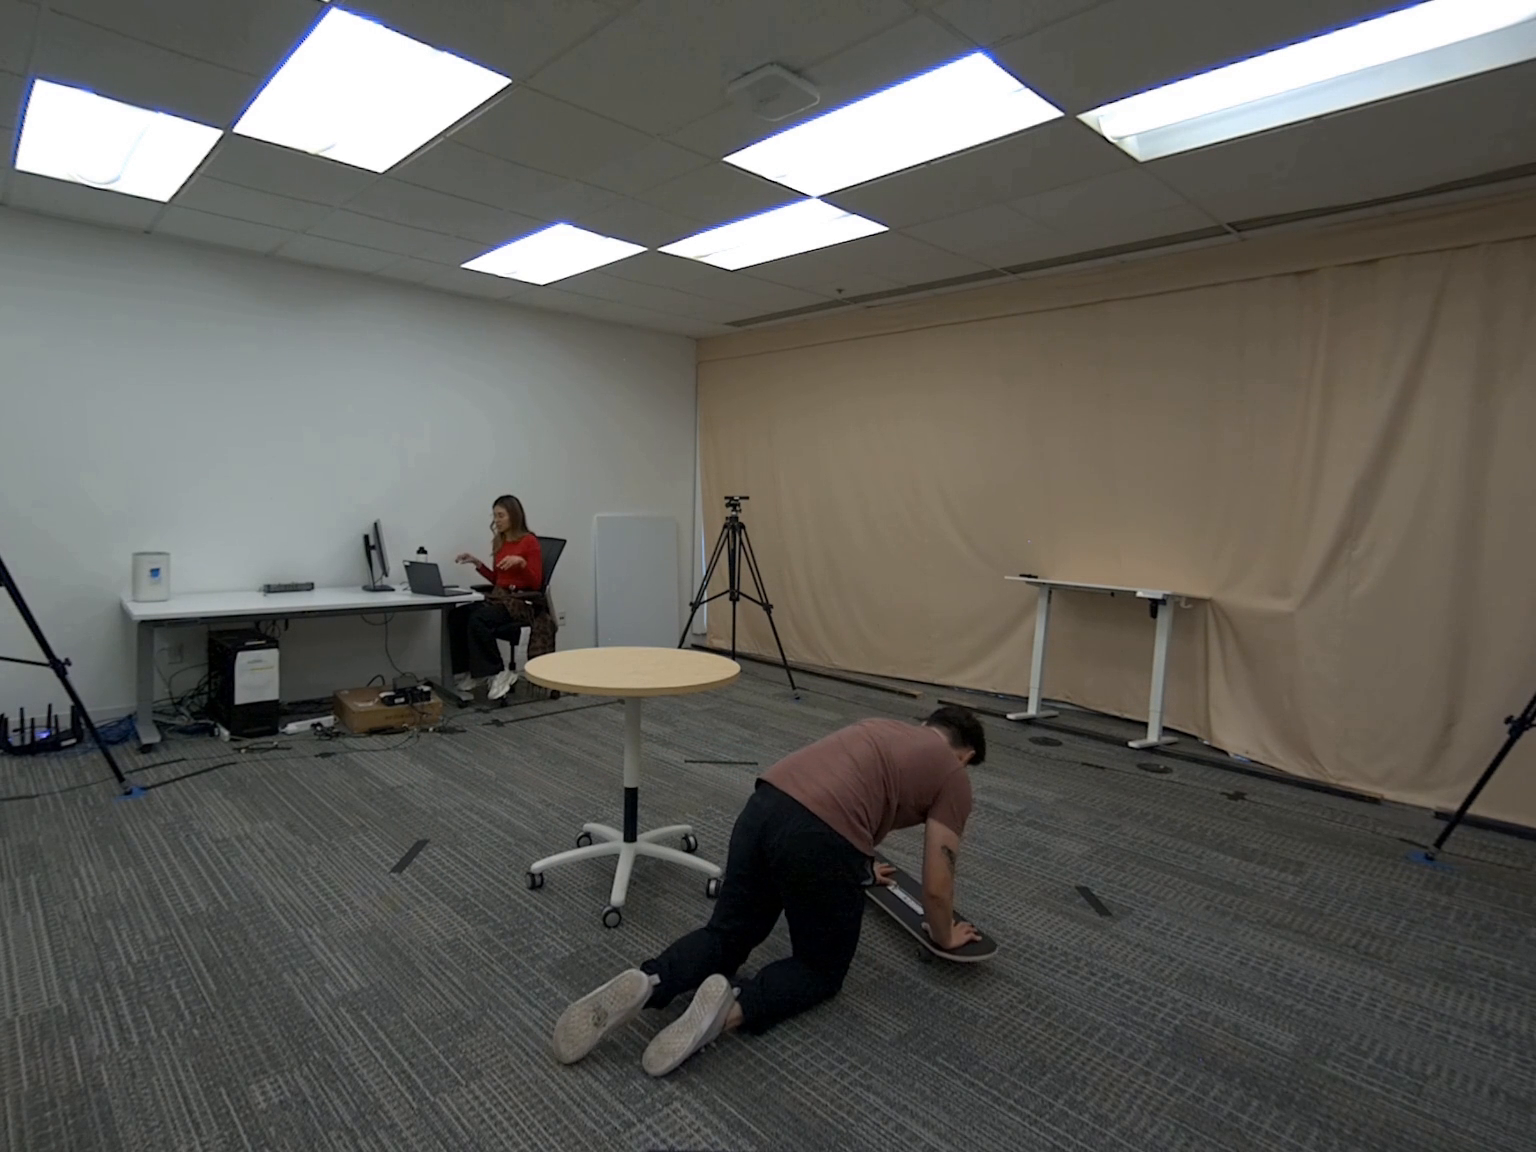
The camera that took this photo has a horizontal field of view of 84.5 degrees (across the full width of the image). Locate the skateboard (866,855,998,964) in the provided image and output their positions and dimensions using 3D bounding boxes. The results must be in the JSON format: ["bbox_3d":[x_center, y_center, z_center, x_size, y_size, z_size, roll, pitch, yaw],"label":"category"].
[{"bbox_3d":[0.448,1.090,2.774,0.190,0.110,0.802,-2,8,-23],"label":"skateboard"}]
